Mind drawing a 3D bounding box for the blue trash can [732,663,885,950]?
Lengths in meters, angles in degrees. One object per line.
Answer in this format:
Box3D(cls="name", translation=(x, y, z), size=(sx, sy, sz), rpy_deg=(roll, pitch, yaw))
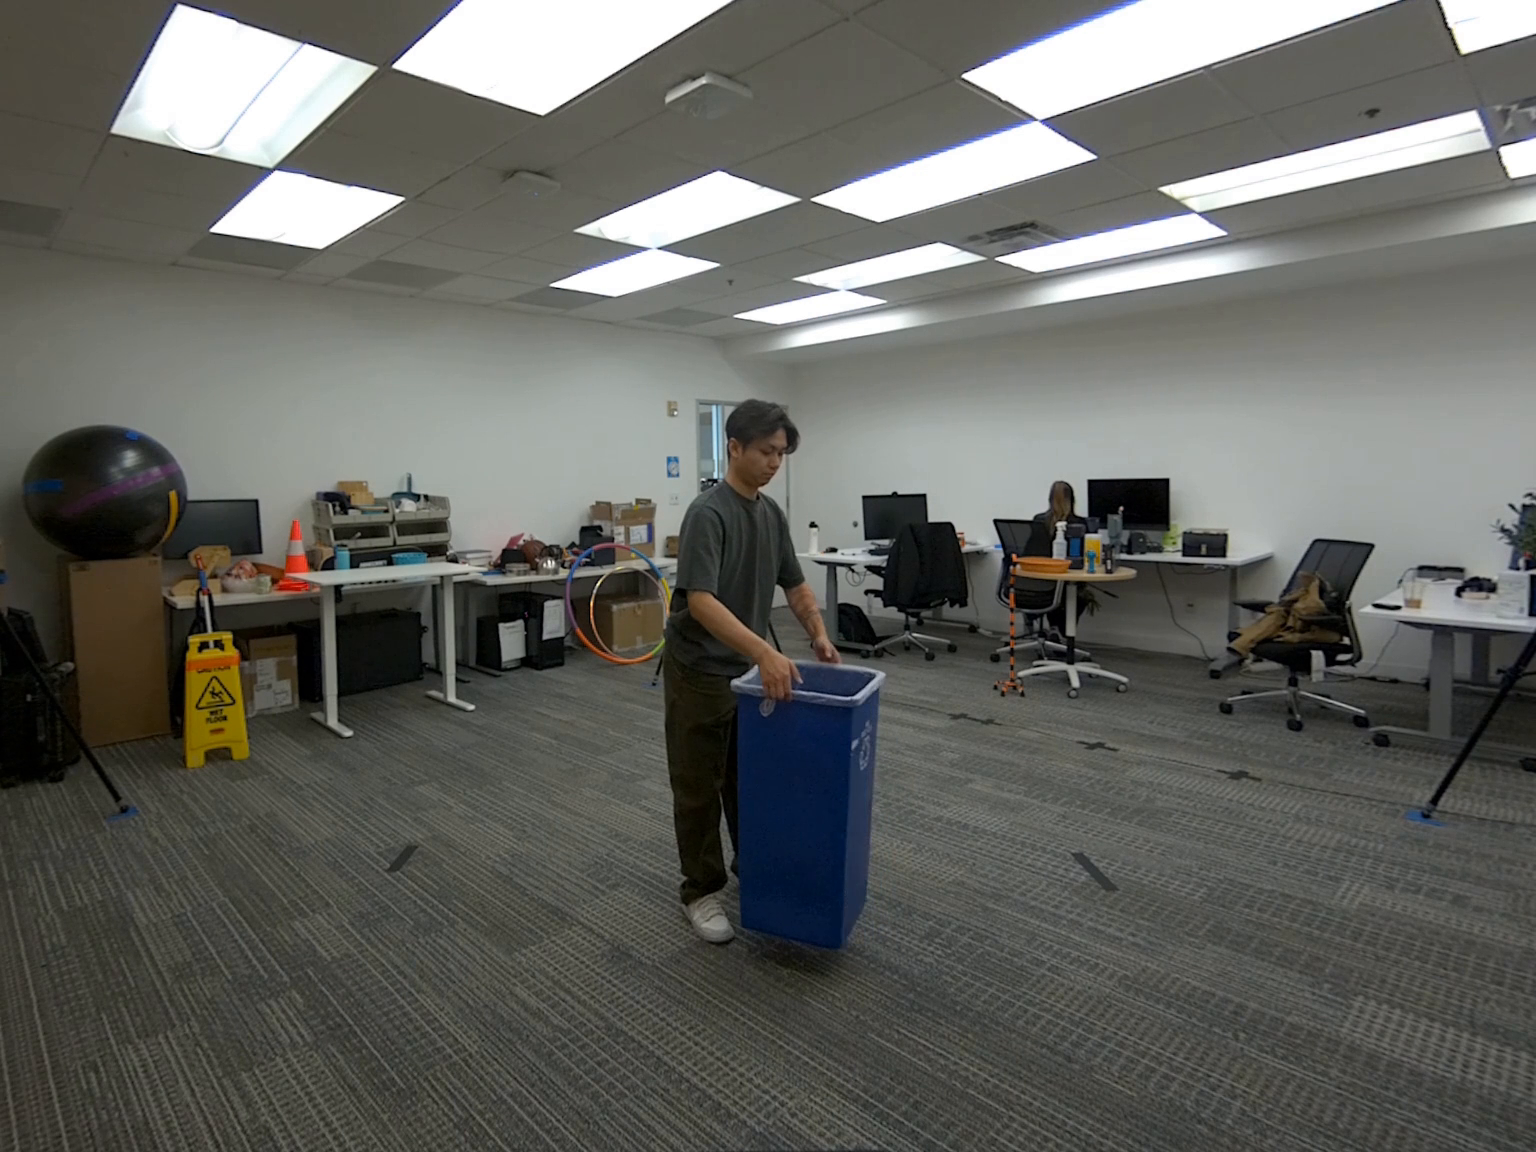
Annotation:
Box3D(cls="blue trash can", translation=(0.125, 0.648, 2.504), size=(0.386, 0.710, 0.368), rpy_deg=(2, 6, 23))
